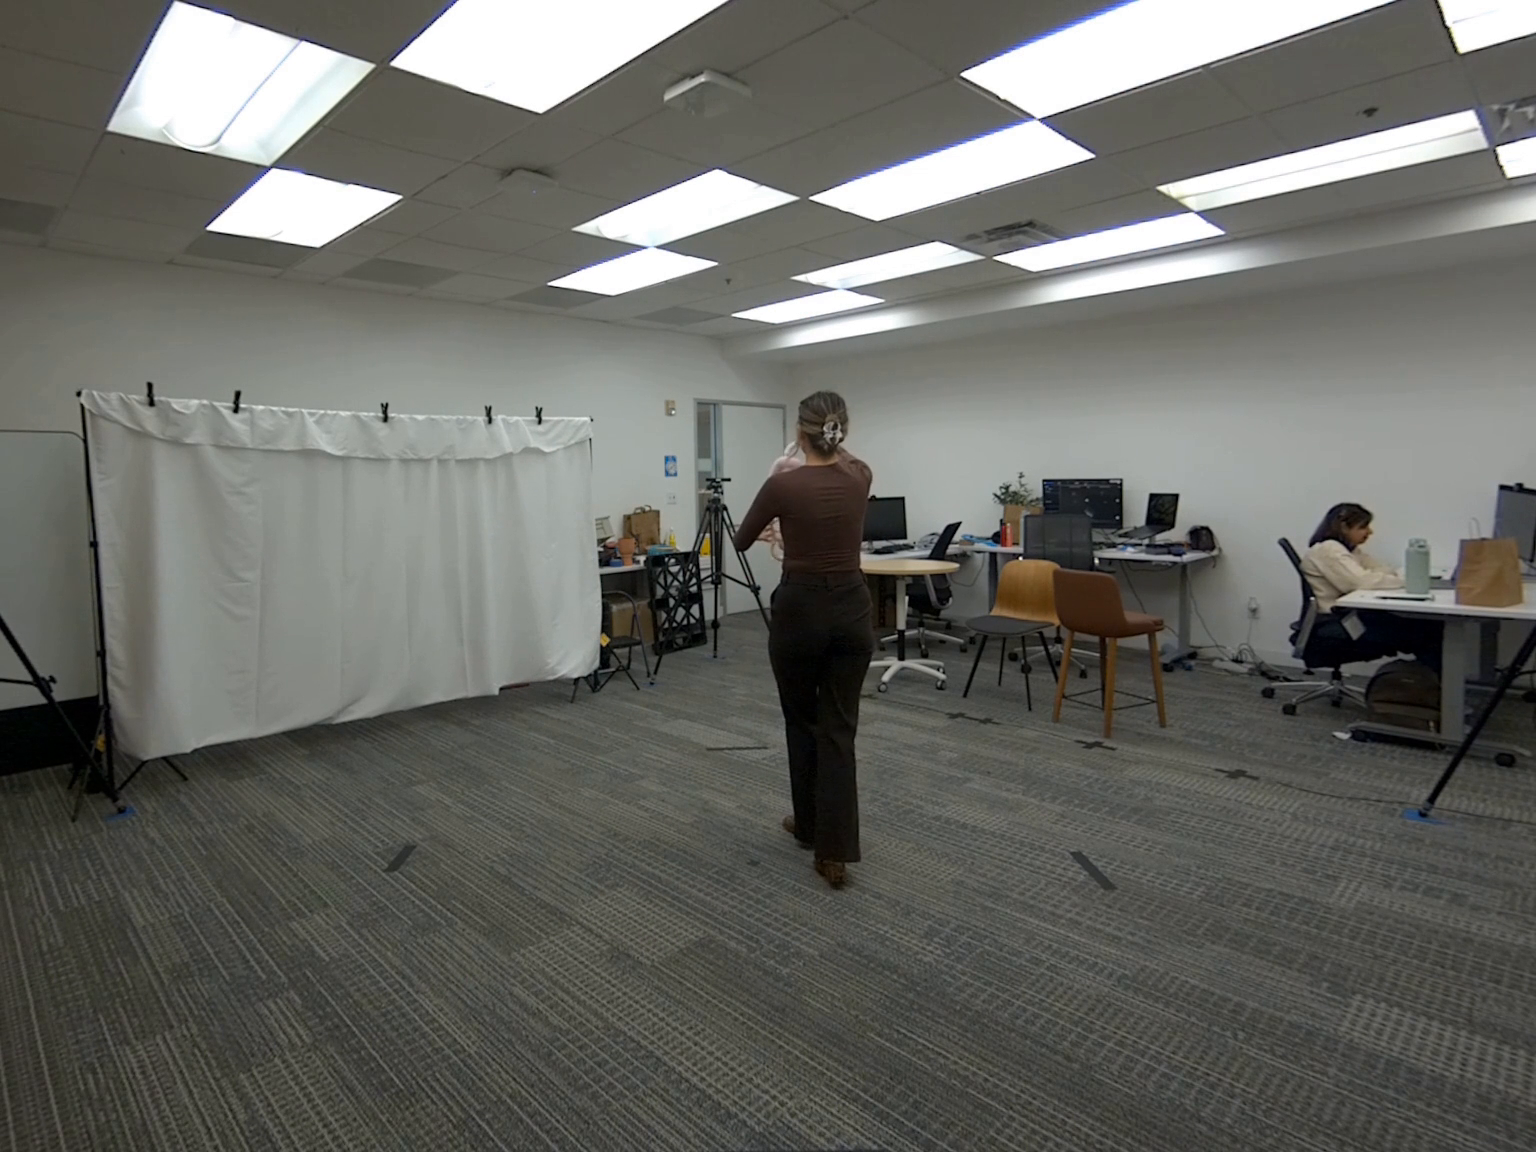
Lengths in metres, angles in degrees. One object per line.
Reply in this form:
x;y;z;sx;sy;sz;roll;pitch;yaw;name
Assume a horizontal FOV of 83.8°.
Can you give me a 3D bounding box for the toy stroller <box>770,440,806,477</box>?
0.126;-0.279;3.639;0.290;0.528;0.336;5;17;33;toy stroller
